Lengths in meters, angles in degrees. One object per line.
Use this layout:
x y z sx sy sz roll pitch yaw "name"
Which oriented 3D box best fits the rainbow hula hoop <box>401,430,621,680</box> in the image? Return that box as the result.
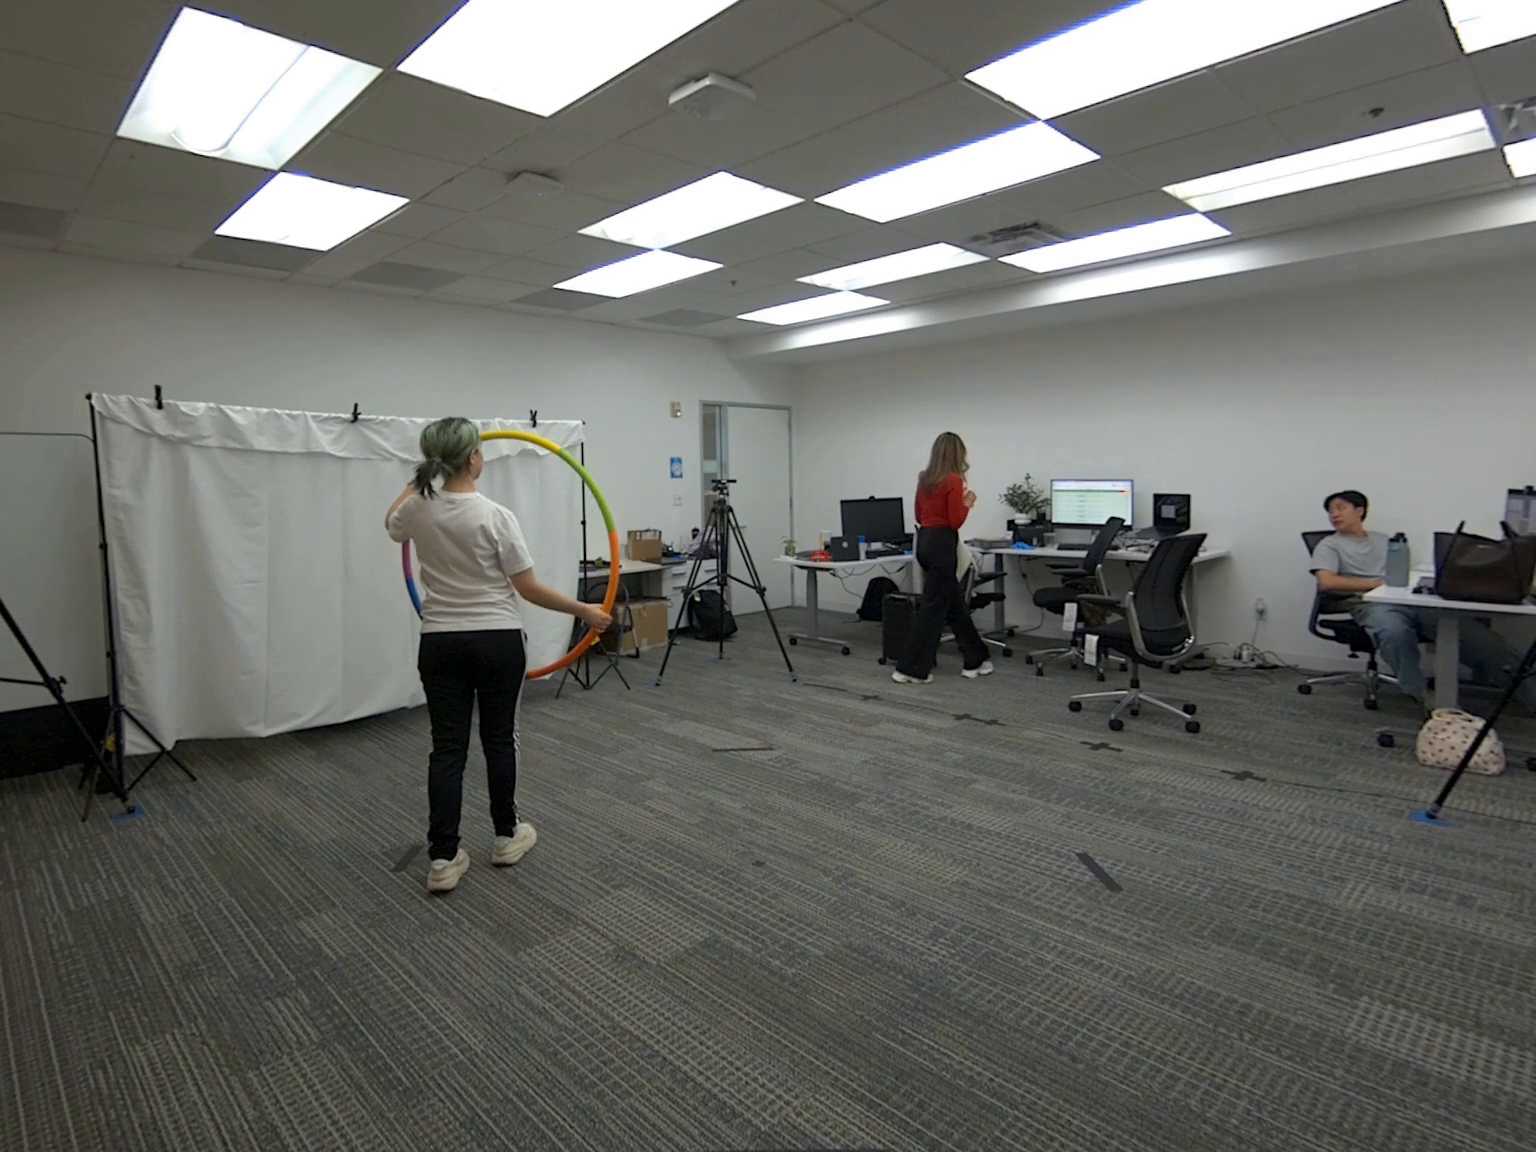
-1.031 -0.076 3.375 0.996 0.975 0.035 1 4 19 "rainbow hula hoop"
